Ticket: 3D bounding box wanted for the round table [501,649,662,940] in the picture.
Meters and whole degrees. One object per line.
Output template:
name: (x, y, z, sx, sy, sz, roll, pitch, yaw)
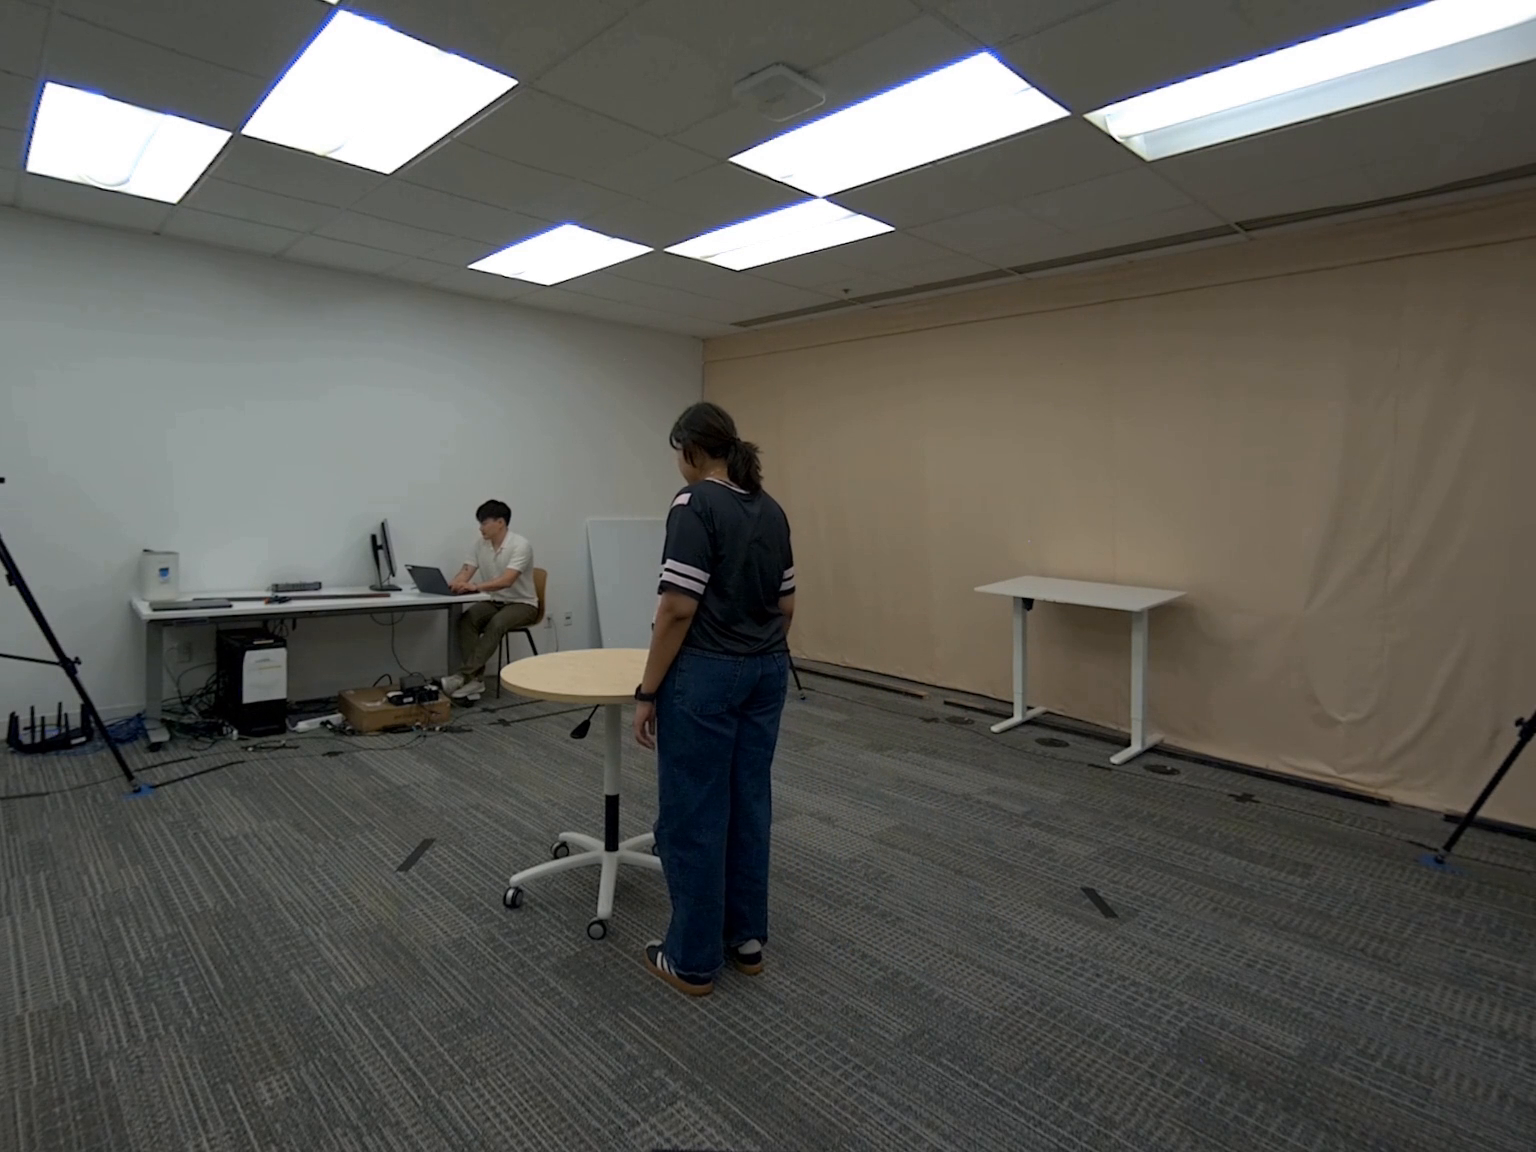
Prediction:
round table: (-0.556, 0.717, 2.946, 0.784, 0.784, 0.788, 1, 4, -1)
